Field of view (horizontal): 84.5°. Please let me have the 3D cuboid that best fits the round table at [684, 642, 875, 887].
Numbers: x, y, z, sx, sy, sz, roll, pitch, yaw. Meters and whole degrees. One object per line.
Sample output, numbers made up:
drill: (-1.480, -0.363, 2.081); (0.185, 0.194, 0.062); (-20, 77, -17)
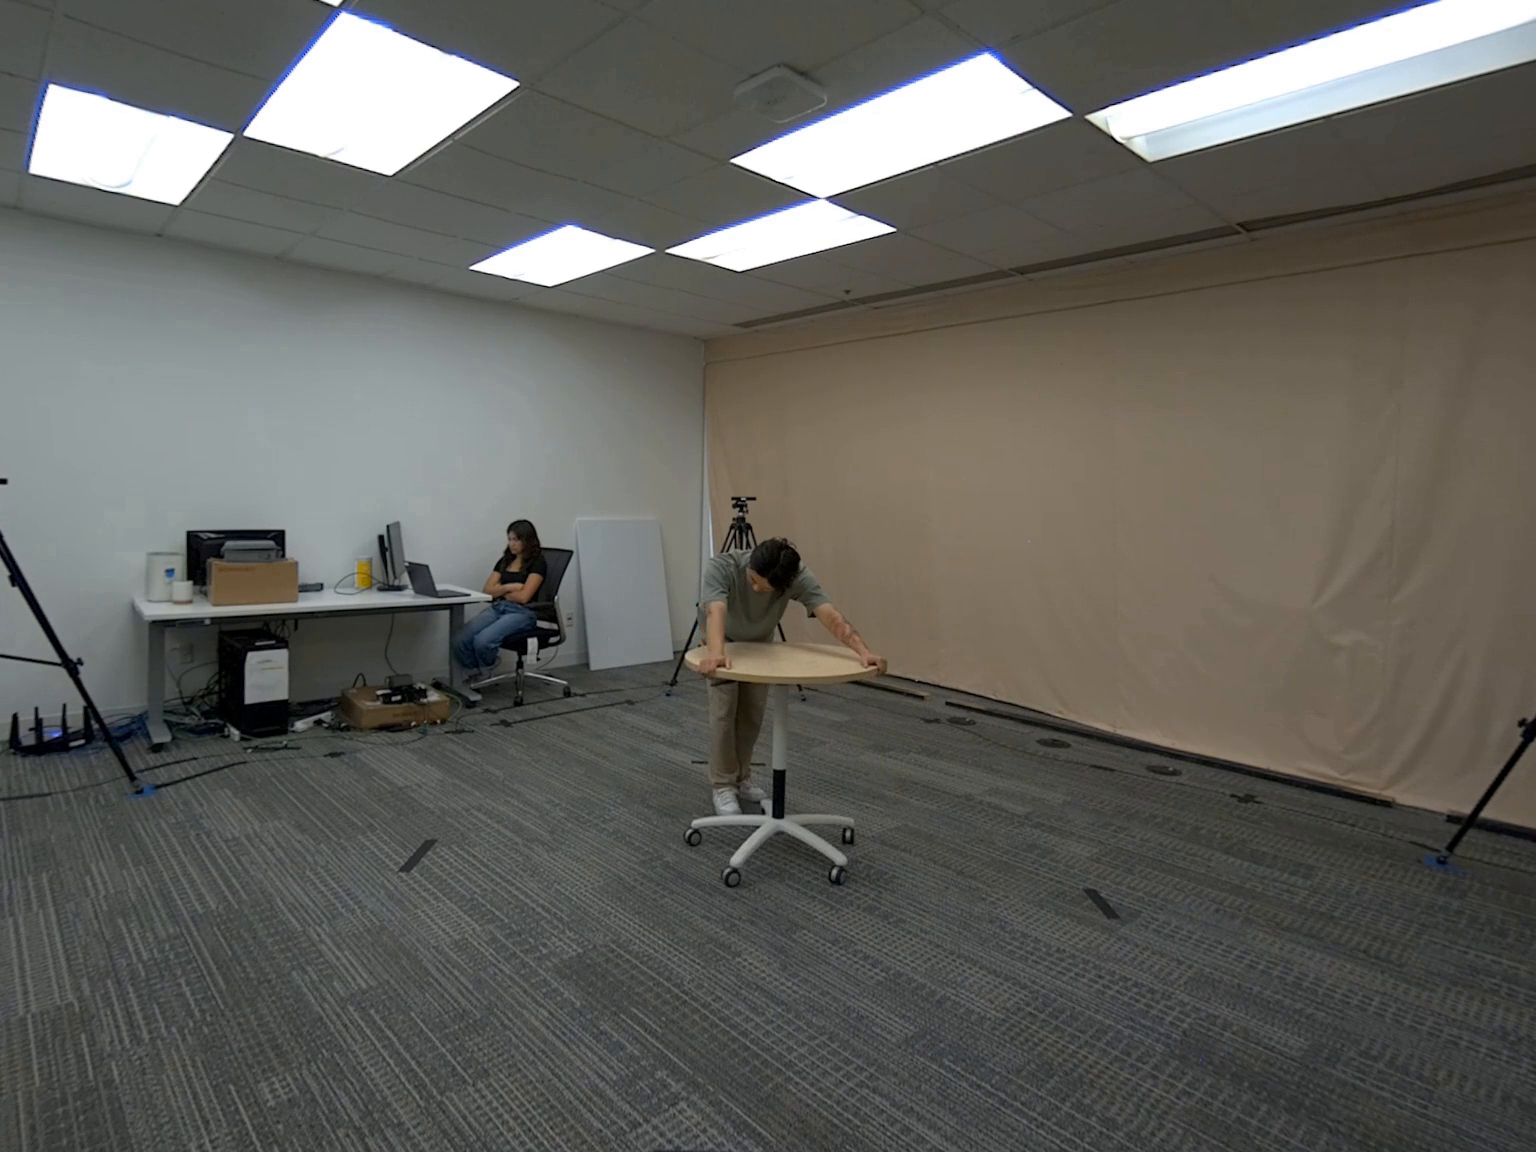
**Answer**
round table: (0.049, 0.705, 3.301); (0.784, 0.784, 0.788); (0, 4, -1)
